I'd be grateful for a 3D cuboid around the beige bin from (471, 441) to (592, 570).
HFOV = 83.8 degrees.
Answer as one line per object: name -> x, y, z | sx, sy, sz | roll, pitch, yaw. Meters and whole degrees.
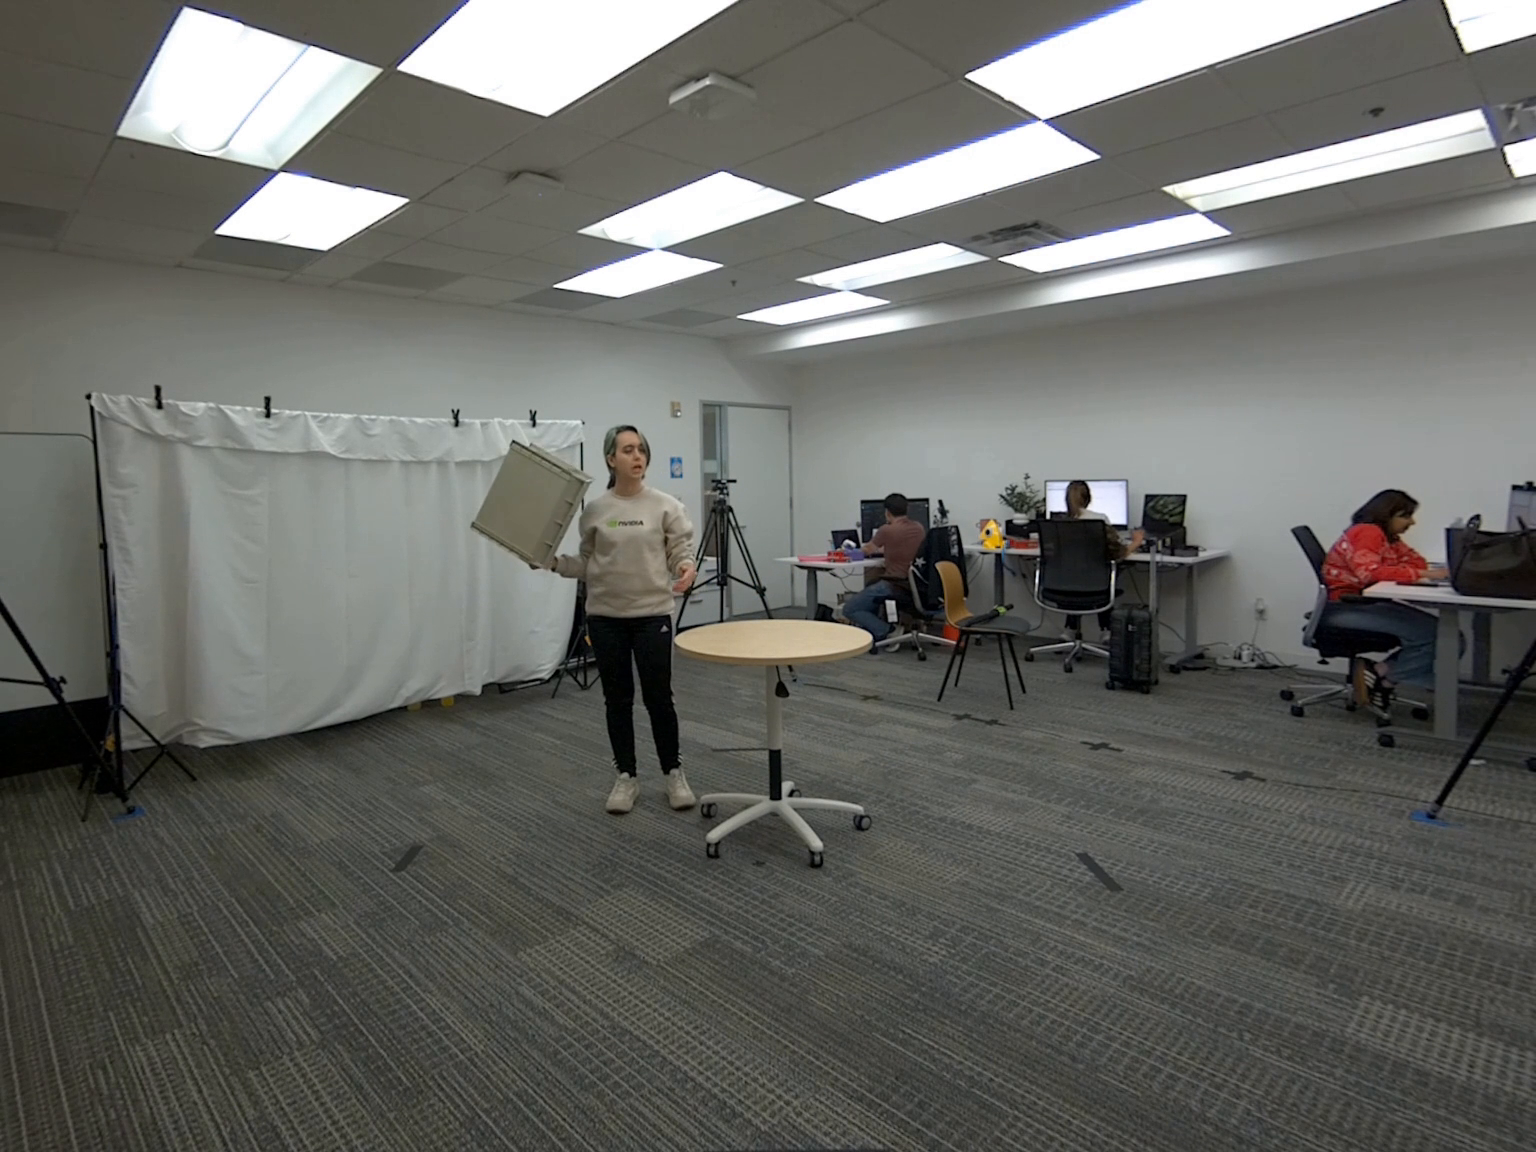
beige bin -> -0.957, -0.293, 3.542 | 0.386, 0.421, 0.185 | 30, 6, 16
